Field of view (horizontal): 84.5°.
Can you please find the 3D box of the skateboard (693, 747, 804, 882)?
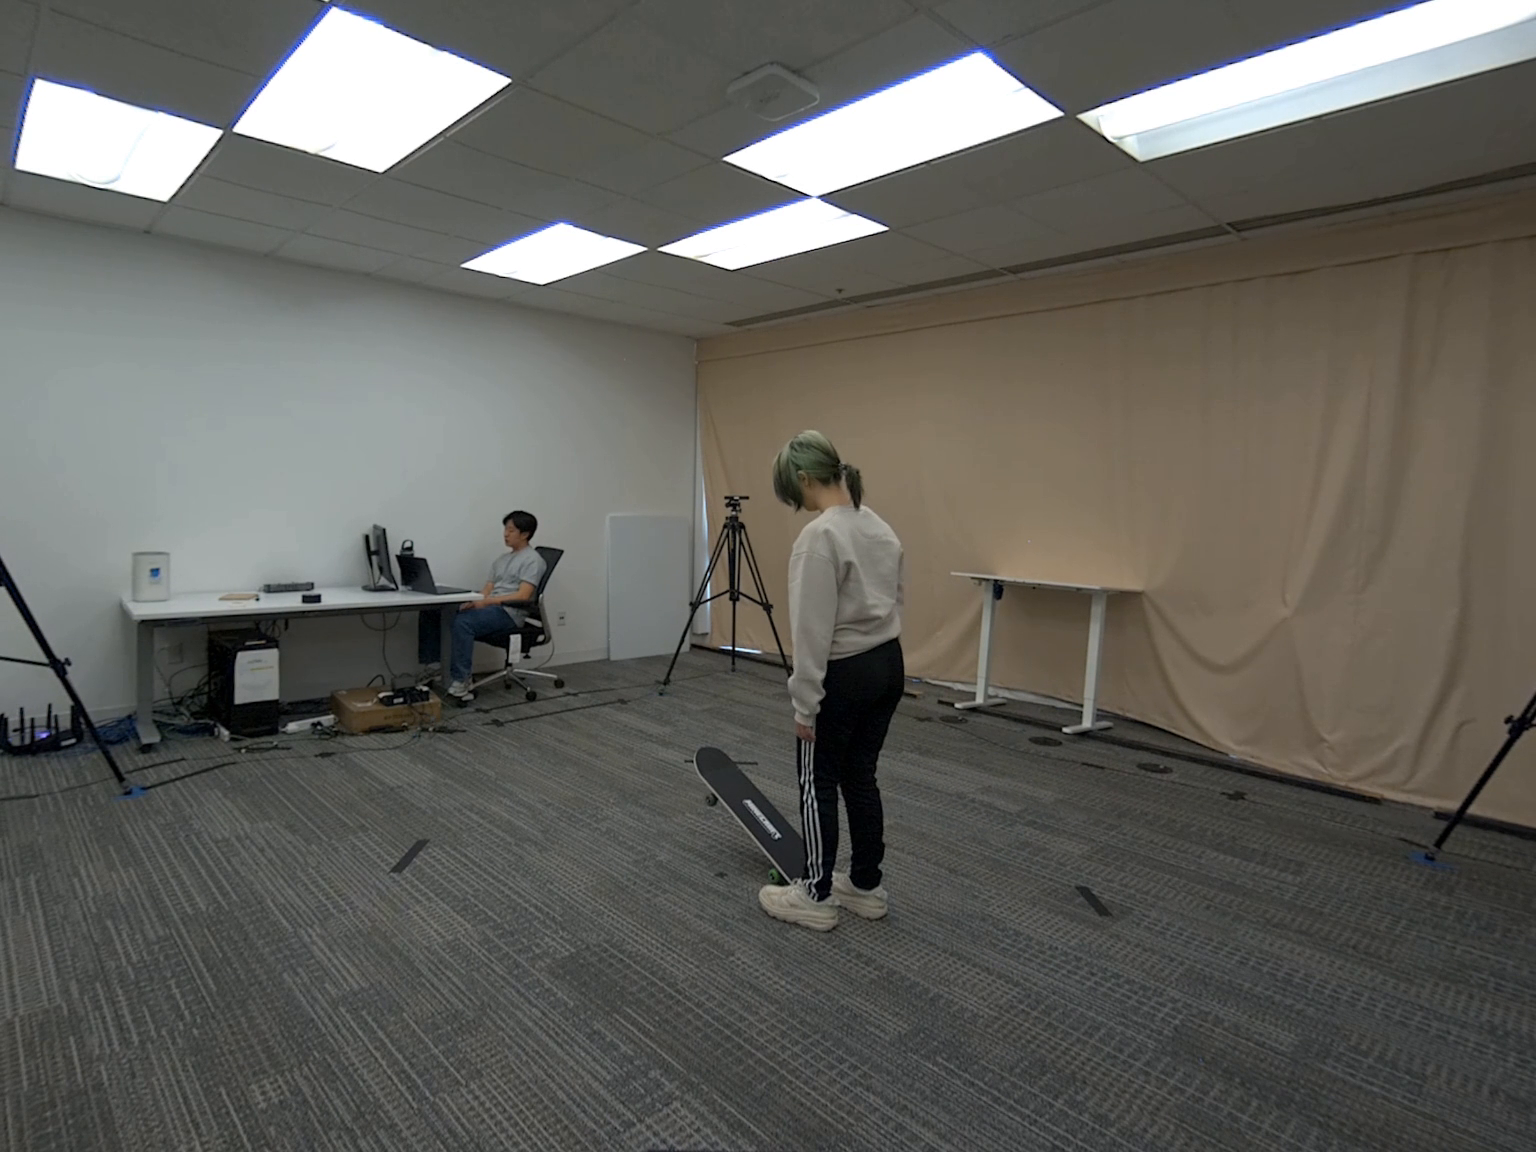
[{"bbox_3d":[-0.043,0.957,3.216,0.189,0.109,0.810,-3,34,-43],"label":"skateboard"}]
